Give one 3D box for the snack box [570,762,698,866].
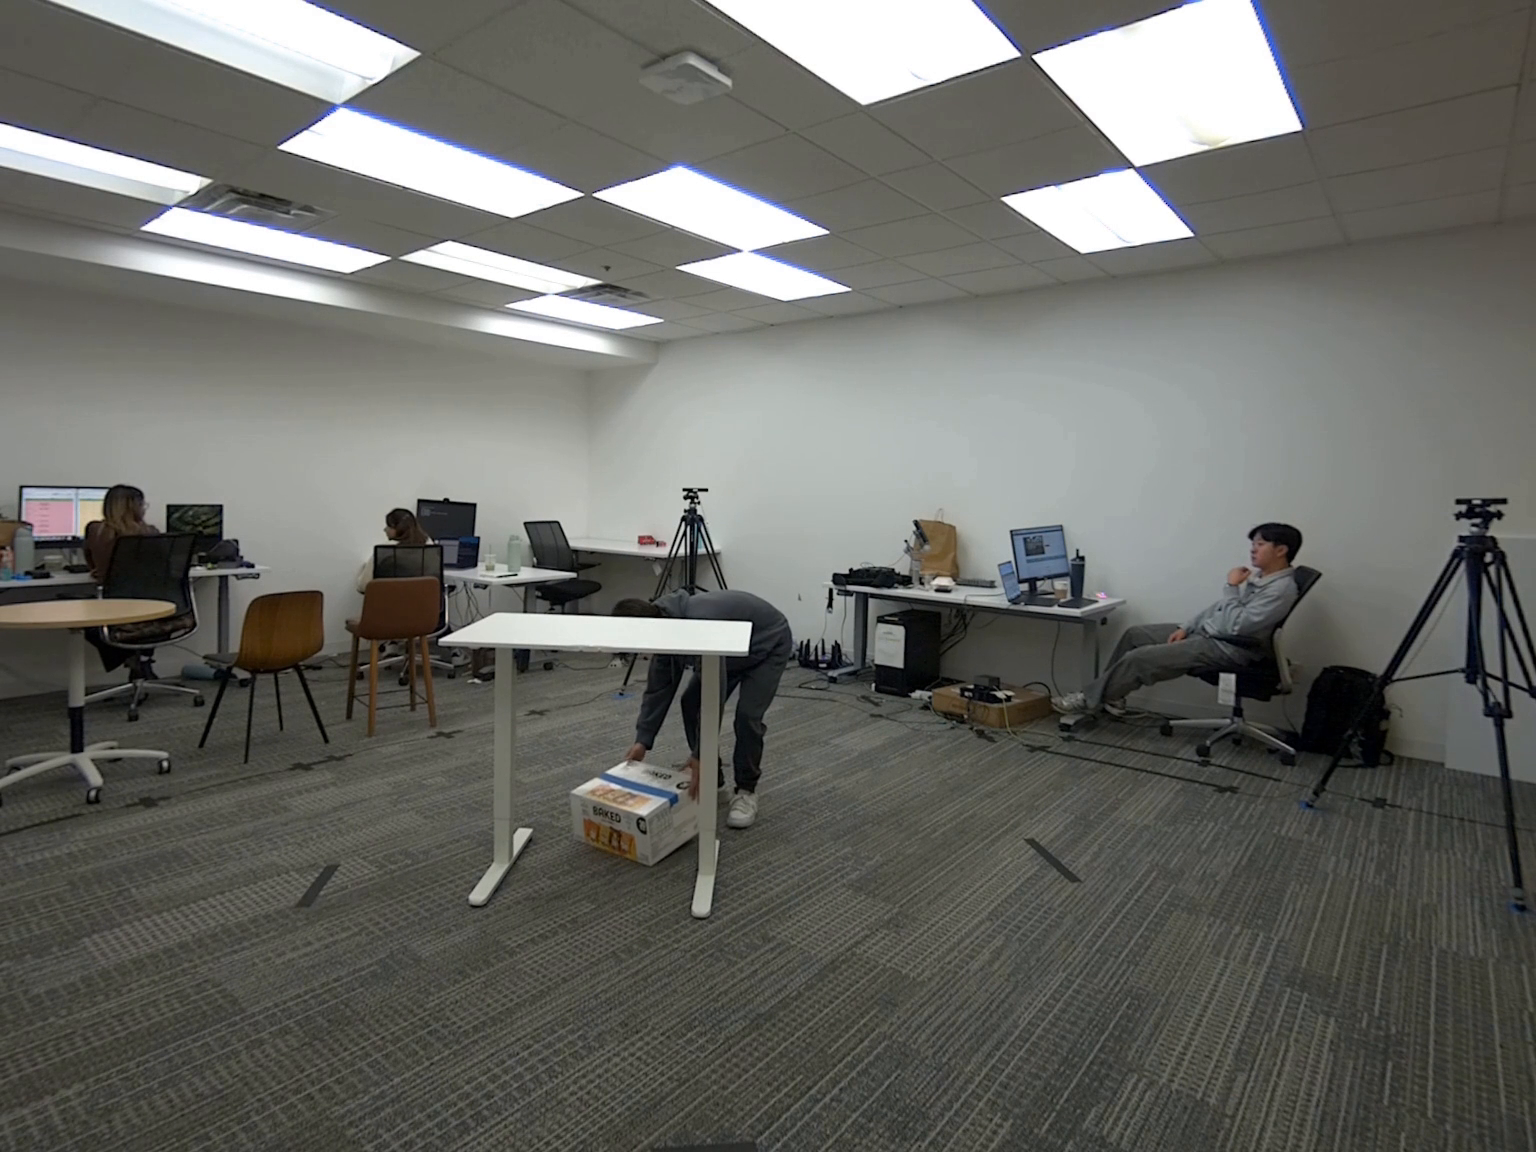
[{"bbox_3d":[-0.518,0.915,3.346,0.418,0.203,0.333,3,14,36],"label":"snack box"}]
